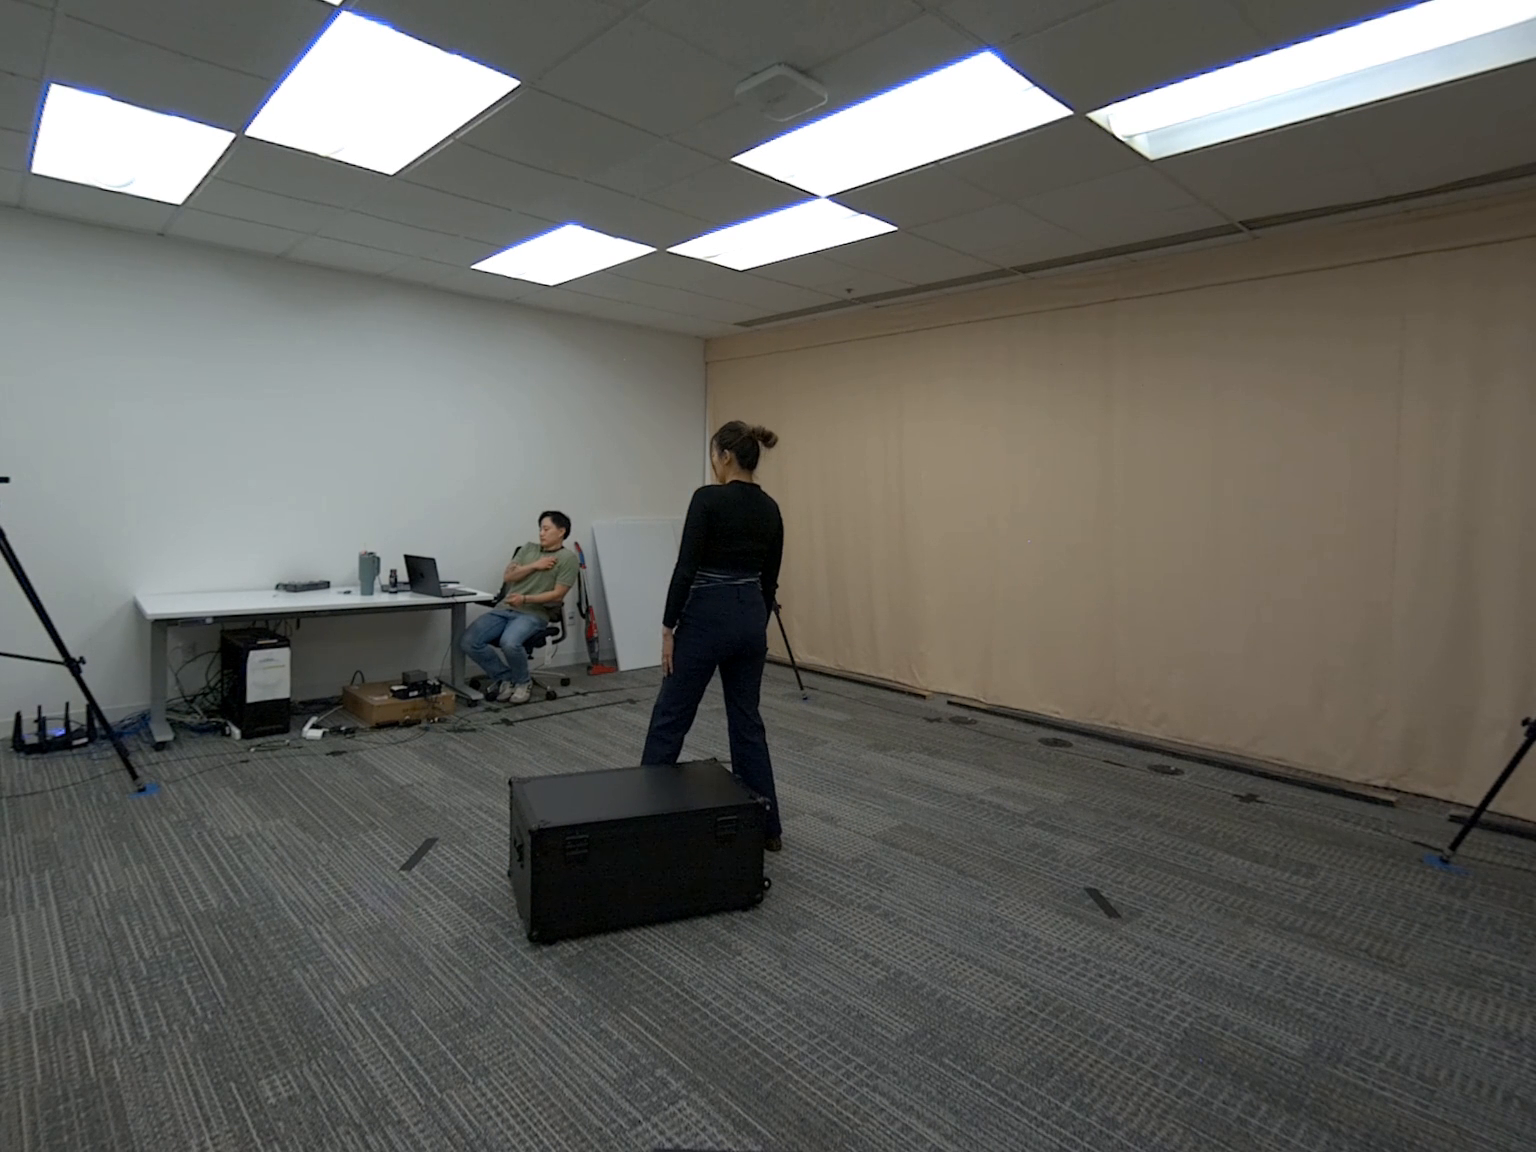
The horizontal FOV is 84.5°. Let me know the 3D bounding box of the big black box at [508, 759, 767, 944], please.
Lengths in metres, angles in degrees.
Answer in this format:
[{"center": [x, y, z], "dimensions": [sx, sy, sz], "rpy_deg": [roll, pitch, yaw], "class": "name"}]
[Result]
[{"center": [-0.498, 0.924, 2.898], "dimensions": [0.847, 0.395, 0.531], "rpy_deg": [0, 4, -23], "class": "big black box"}]
